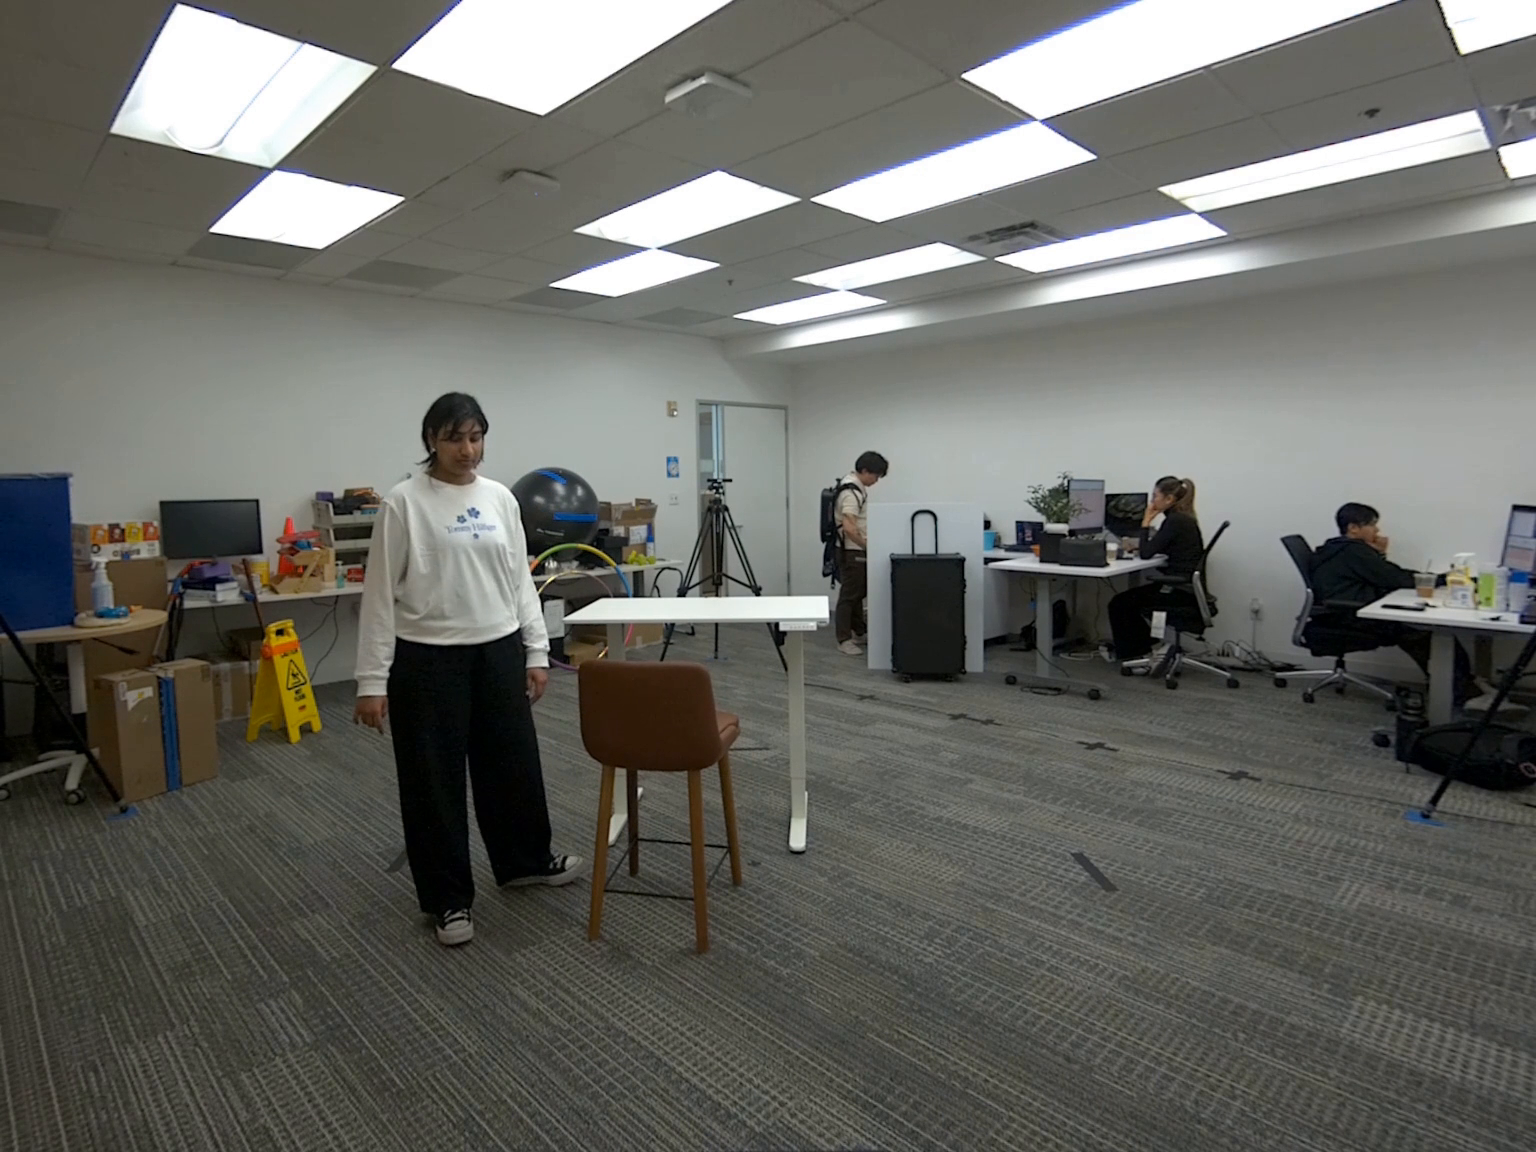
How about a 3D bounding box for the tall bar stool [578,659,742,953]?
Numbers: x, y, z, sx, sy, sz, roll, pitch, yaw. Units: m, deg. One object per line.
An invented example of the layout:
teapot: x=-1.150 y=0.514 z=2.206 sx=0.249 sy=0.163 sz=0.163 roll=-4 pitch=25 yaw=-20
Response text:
tall bar stool: x=-0.334 y=0.656 z=2.752 sx=0.462 sy=0.885 sz=0.464 roll=-1 pitch=6 yaw=13
